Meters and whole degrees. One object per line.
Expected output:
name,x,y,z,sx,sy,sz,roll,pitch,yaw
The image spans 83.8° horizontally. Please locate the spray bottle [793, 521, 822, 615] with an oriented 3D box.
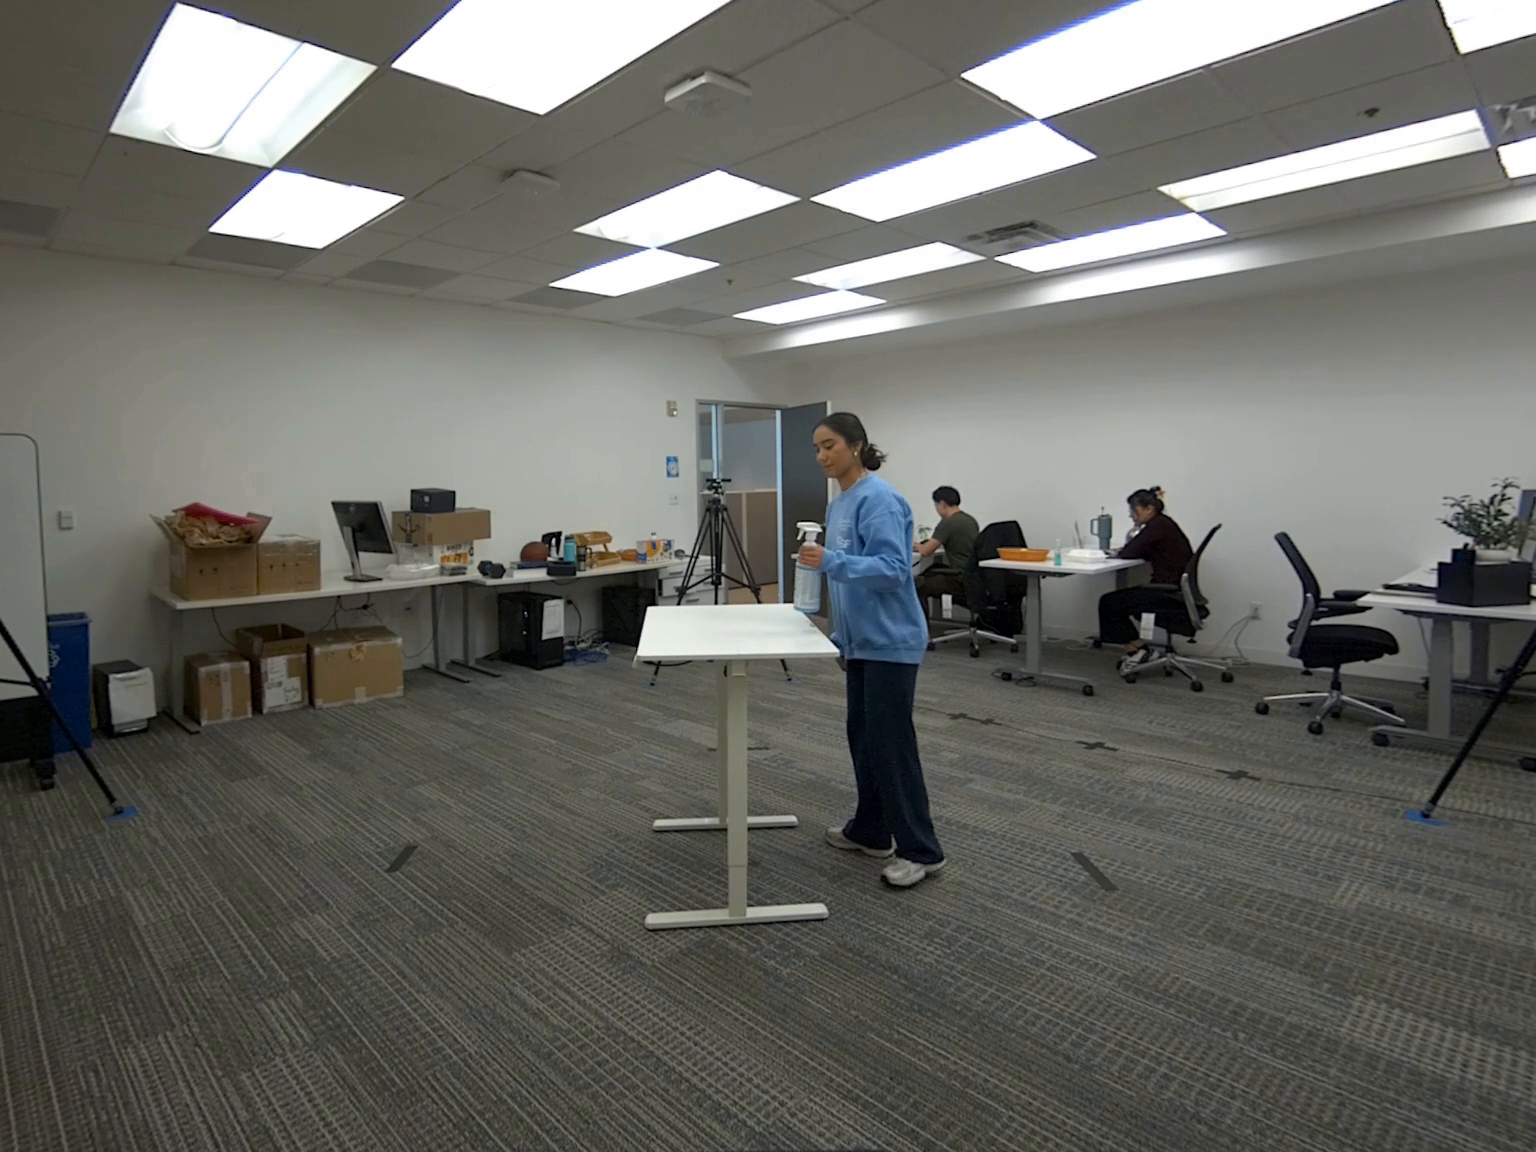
spray bottle,0.143,-0.029,2.829,0.090,0.294,0.088,3,11,-1
